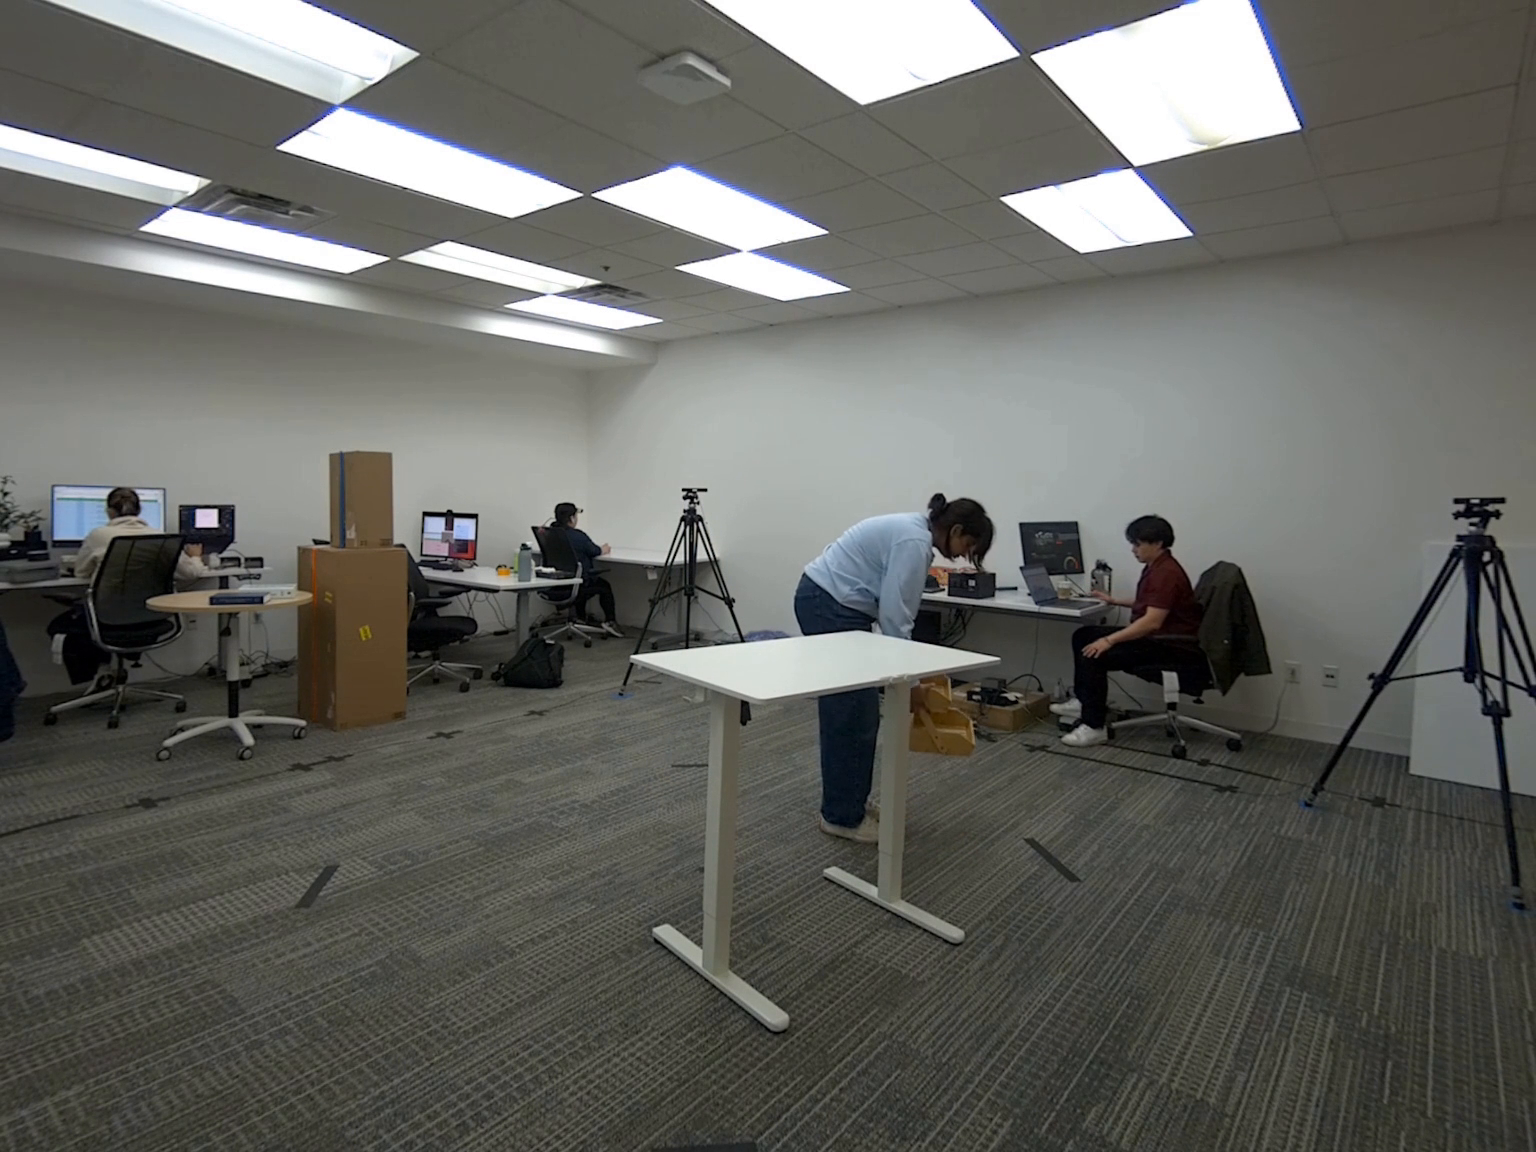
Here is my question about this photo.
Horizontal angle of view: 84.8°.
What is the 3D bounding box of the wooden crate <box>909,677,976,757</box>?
[{"bbox_3d":[0.682,0.537,3.466,0.307,0.271,0.322,1,9,13],"label":"wooden crate"}]
